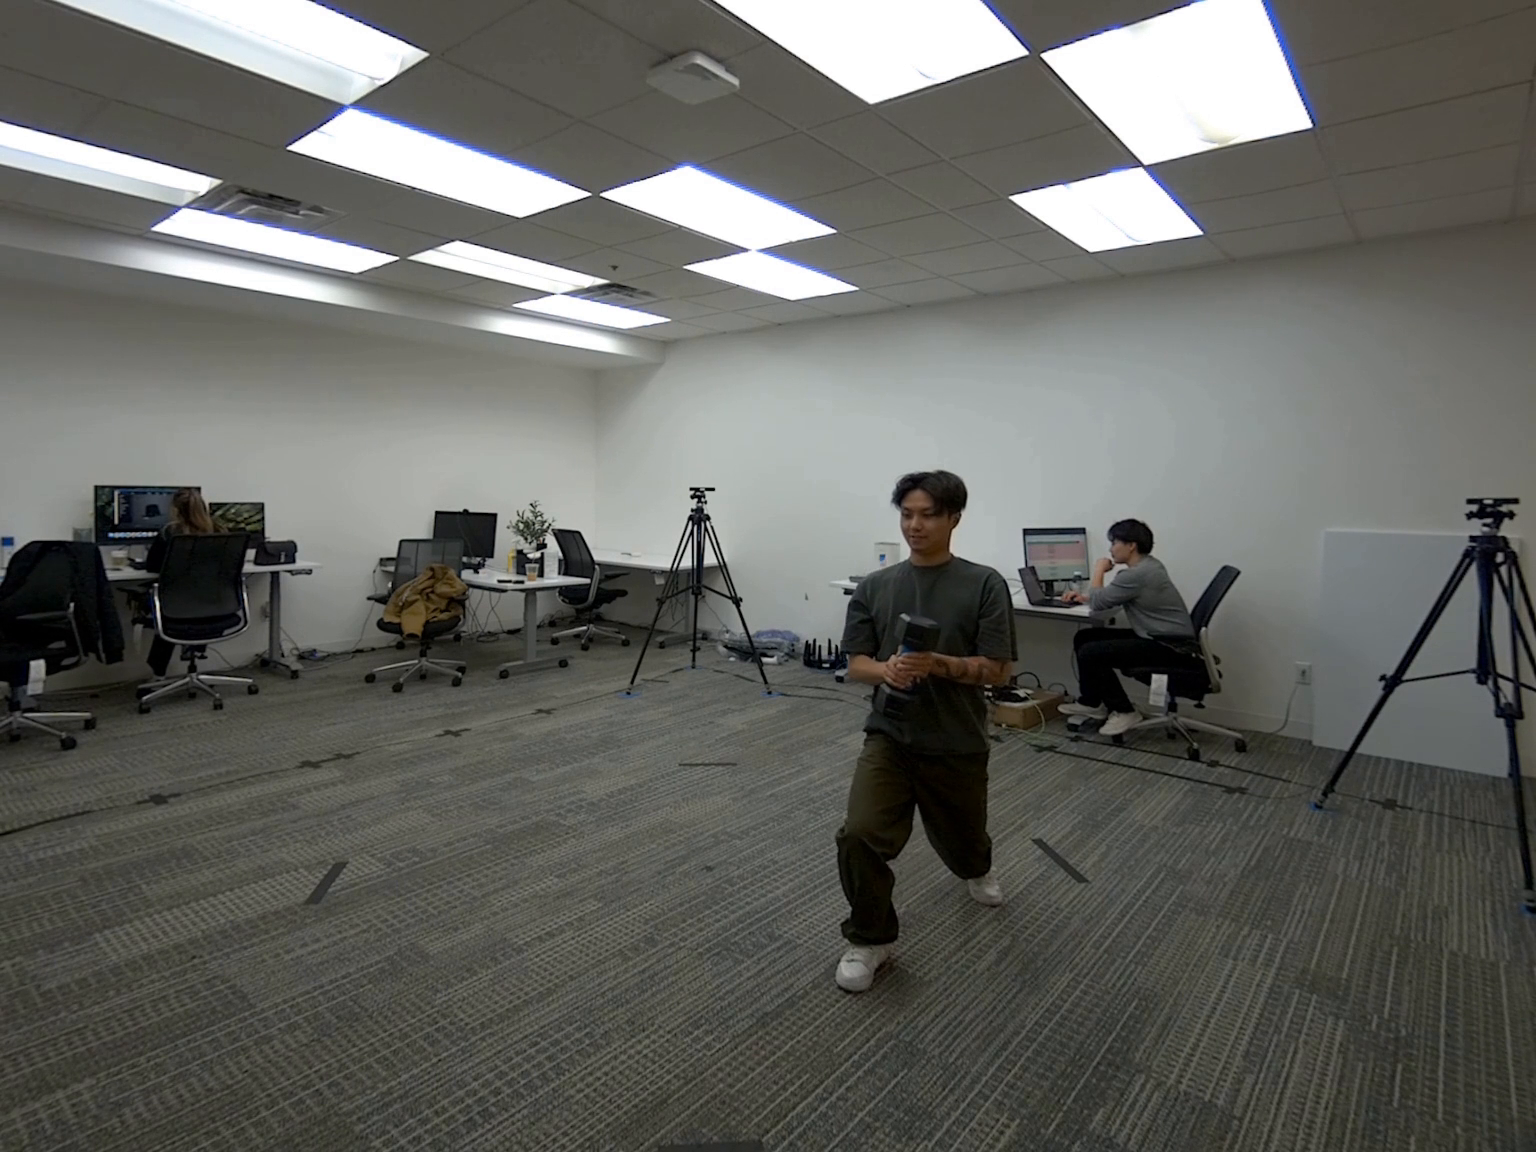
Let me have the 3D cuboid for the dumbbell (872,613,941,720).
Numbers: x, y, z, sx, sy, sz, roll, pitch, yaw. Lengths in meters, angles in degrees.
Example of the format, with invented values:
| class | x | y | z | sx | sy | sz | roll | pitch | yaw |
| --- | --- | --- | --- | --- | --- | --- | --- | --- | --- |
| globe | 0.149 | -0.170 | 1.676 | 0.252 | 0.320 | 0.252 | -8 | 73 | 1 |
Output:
| class | x | y | z | sx | sy | sz | roll | pitch | yaw |
| --- | --- | --- | --- | --- | --- | --- | --- | --- | --- |
| dumbbell | 0.411 | 0.254 | 2.437 | 0.107 | 0.292 | 0.125 | 13 | 9 | -13 |
